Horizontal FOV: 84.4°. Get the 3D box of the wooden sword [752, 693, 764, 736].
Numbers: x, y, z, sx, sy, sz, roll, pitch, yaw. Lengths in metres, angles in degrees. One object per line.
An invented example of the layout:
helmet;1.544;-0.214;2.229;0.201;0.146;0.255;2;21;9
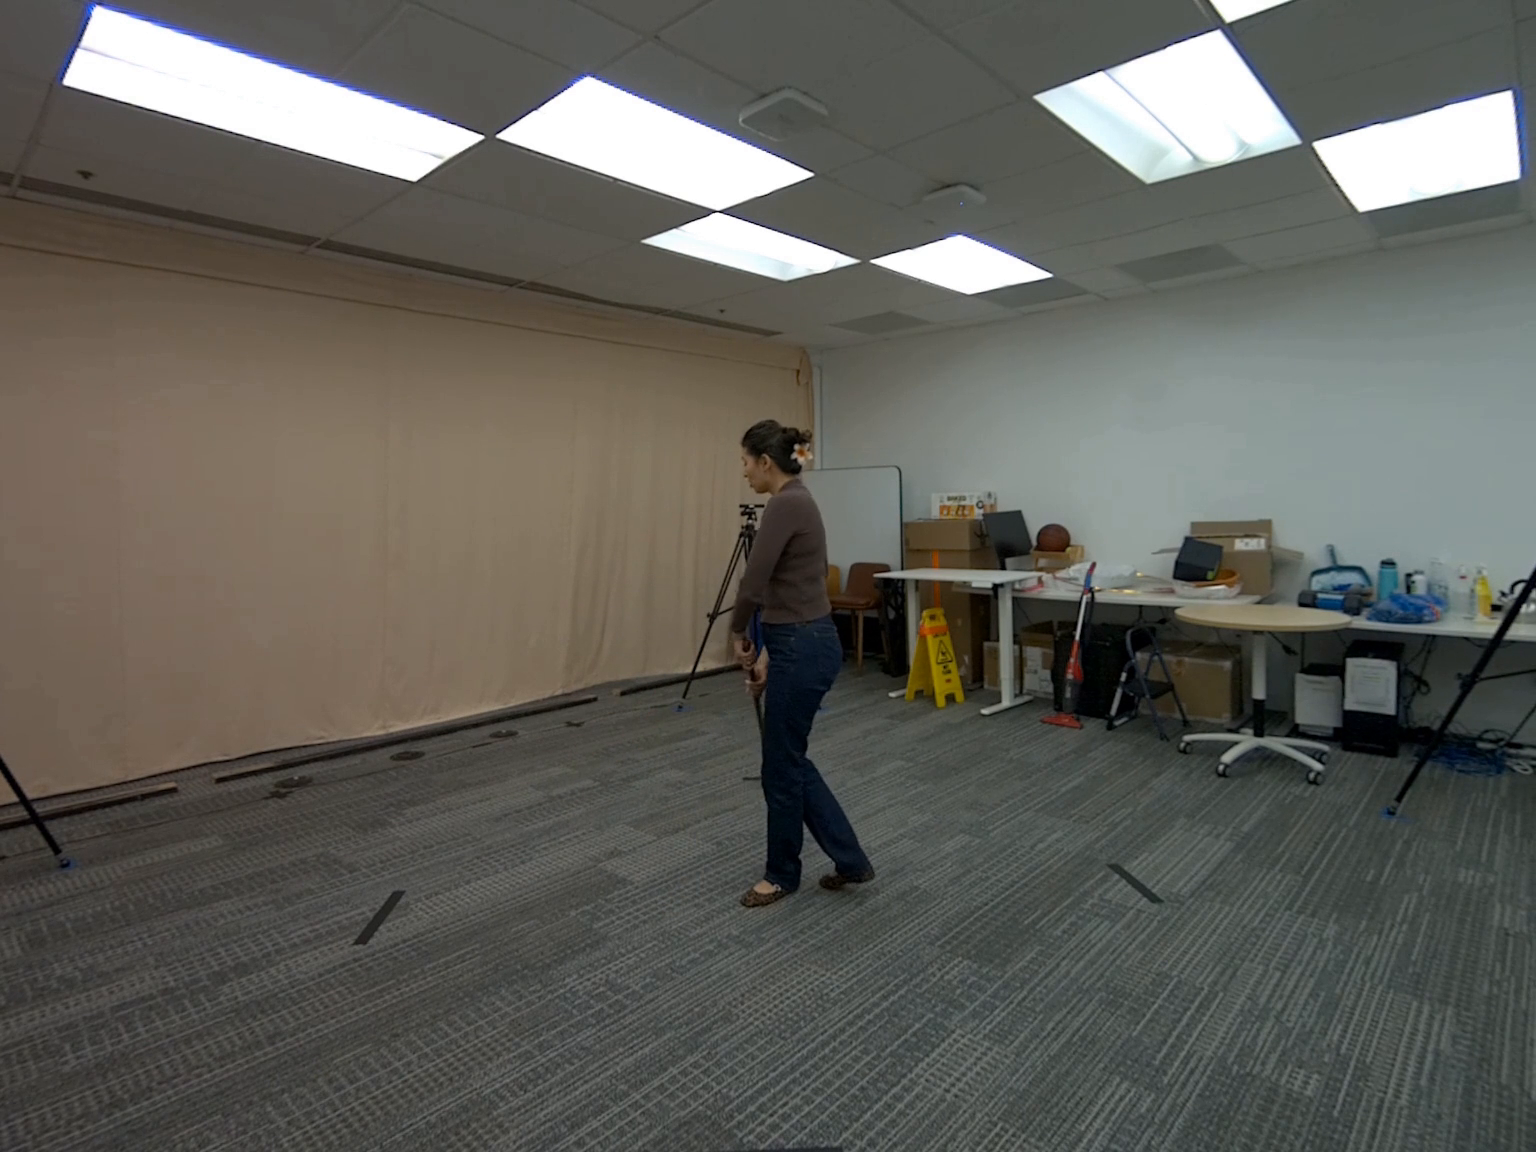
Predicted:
wooden sword;-0.034;0.600;3.272;0.024;1.000;0.053;-23;44;-16
